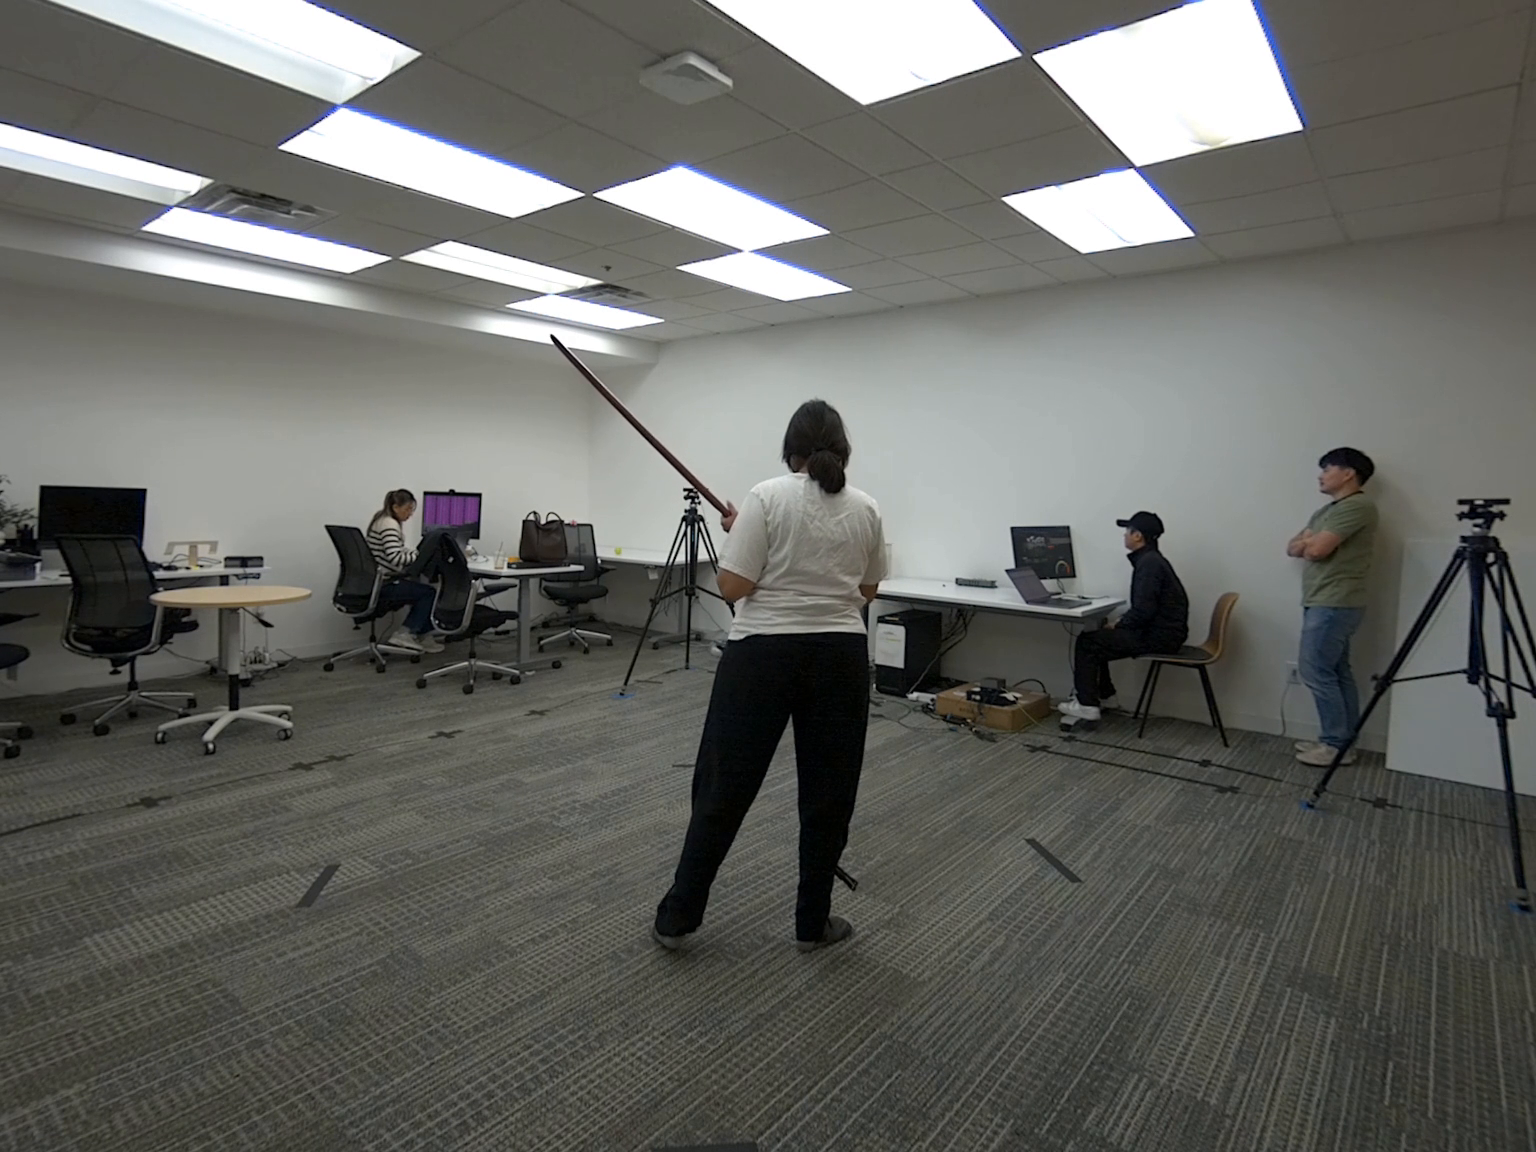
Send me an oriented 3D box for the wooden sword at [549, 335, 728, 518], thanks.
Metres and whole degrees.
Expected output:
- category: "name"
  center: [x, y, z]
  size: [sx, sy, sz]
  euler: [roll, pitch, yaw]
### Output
- category: "wooden sword"
  center: [-0.346, -0.400, 2.644]
  size: [1.004, 0.024, 0.052]
  euler: [44, -29, -14]
